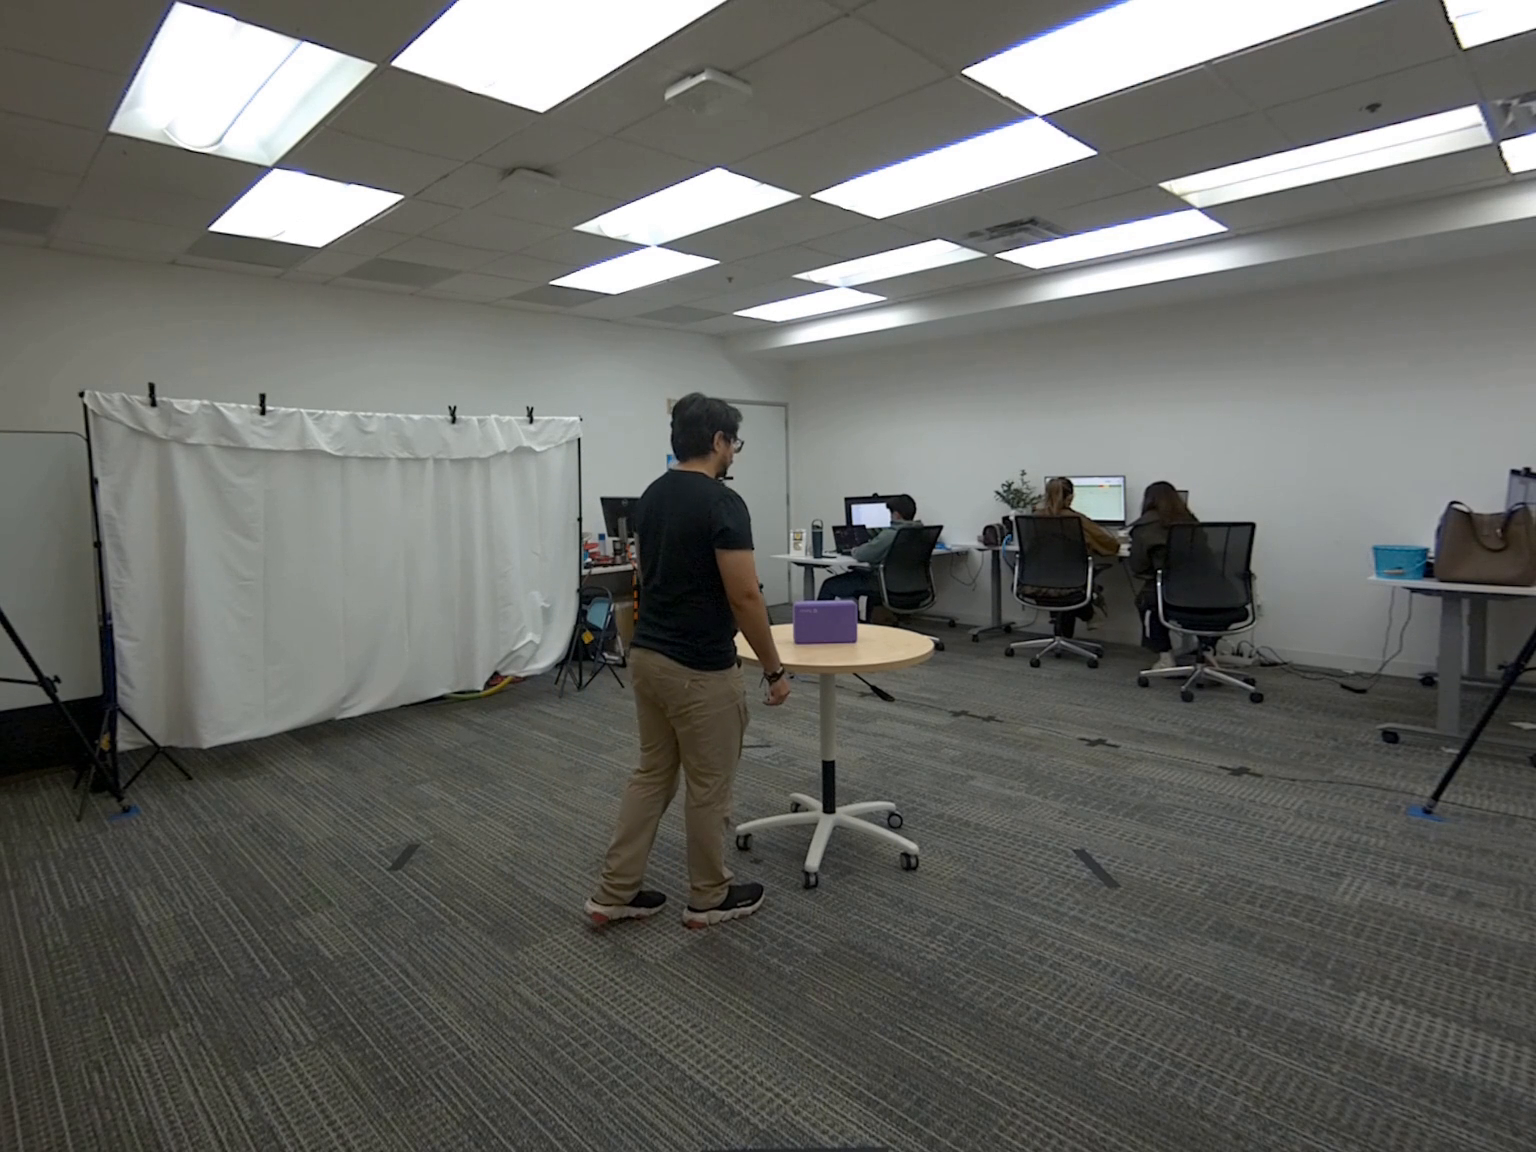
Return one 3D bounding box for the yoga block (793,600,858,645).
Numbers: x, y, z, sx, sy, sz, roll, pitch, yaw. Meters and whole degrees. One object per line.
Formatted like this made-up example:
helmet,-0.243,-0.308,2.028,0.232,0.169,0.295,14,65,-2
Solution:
yoga block,0.216,0.168,3.141,0.229,0.148,0.077,-2,4,0
